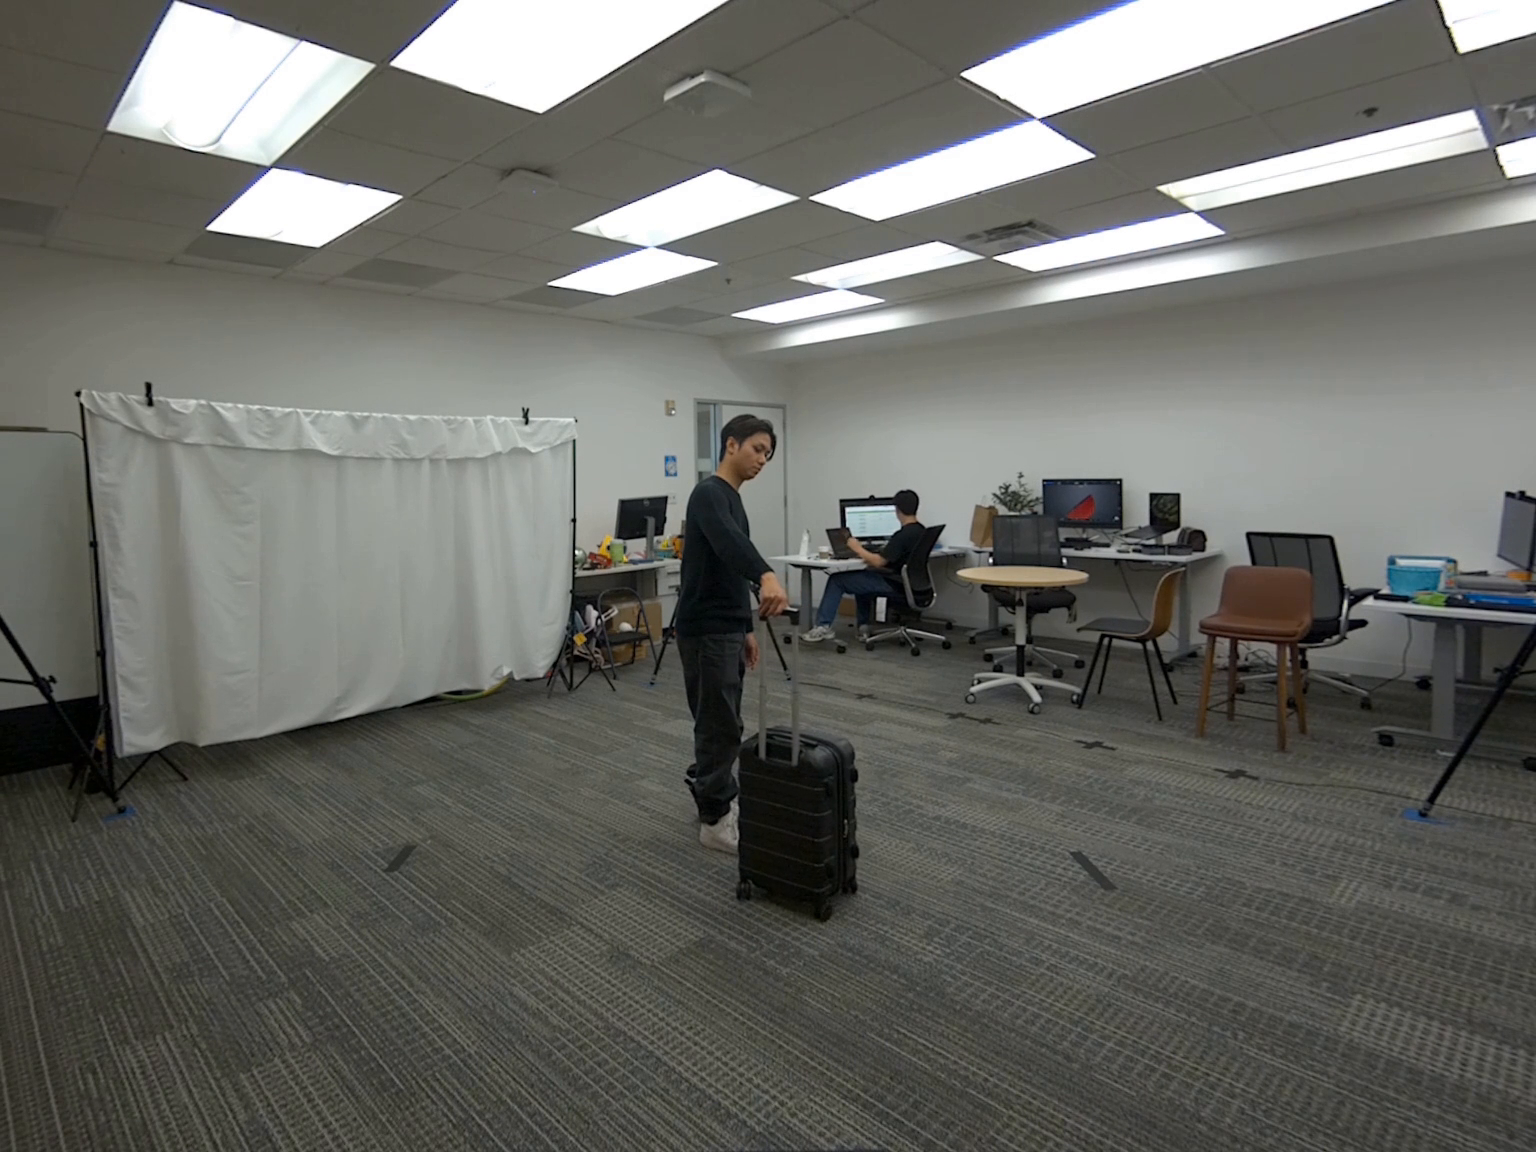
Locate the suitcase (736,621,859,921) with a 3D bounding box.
[{"bbox_3d":[0.102,0.597,2.835,0.395,0.976,0.250,2,3,36],"label":"suitcase"}]
